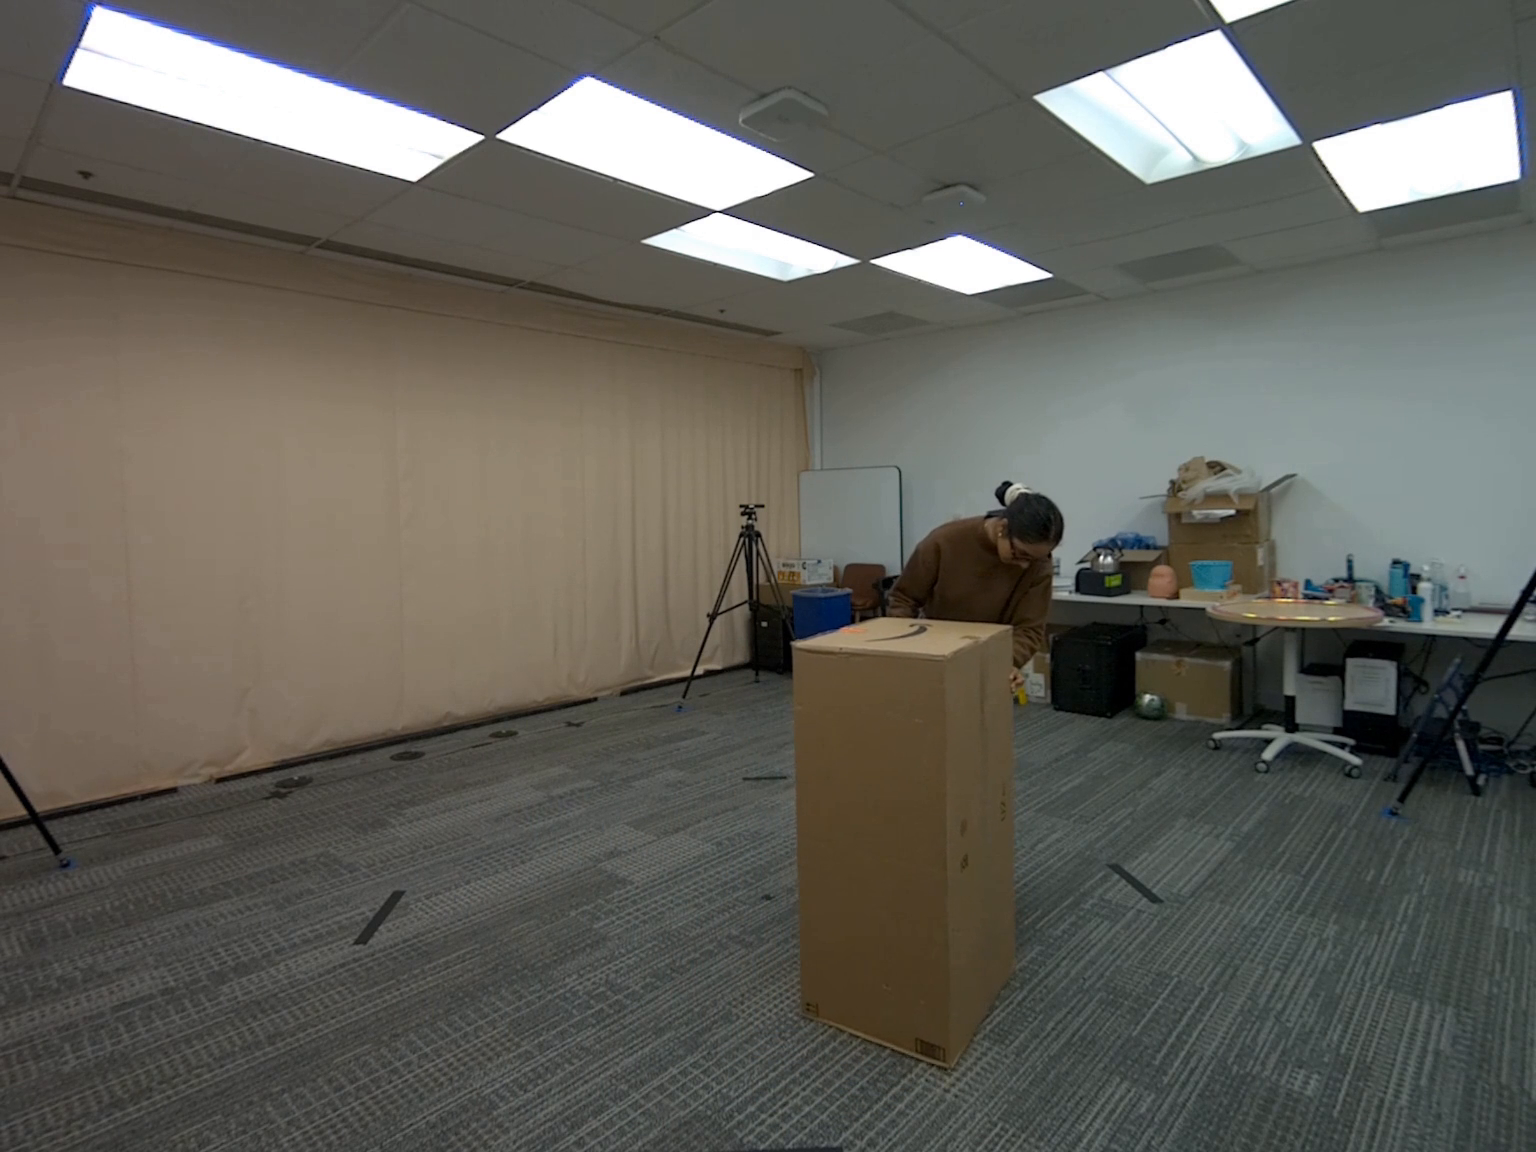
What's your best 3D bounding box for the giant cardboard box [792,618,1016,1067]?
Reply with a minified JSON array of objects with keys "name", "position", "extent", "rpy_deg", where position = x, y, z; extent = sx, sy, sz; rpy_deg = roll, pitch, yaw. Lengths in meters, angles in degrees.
[{"name":"giant cardboard box","position":[0.400,0.674,2.375],"extent":[0.439,1.024,0.561],"rpy_deg":[0,3,34]}]
